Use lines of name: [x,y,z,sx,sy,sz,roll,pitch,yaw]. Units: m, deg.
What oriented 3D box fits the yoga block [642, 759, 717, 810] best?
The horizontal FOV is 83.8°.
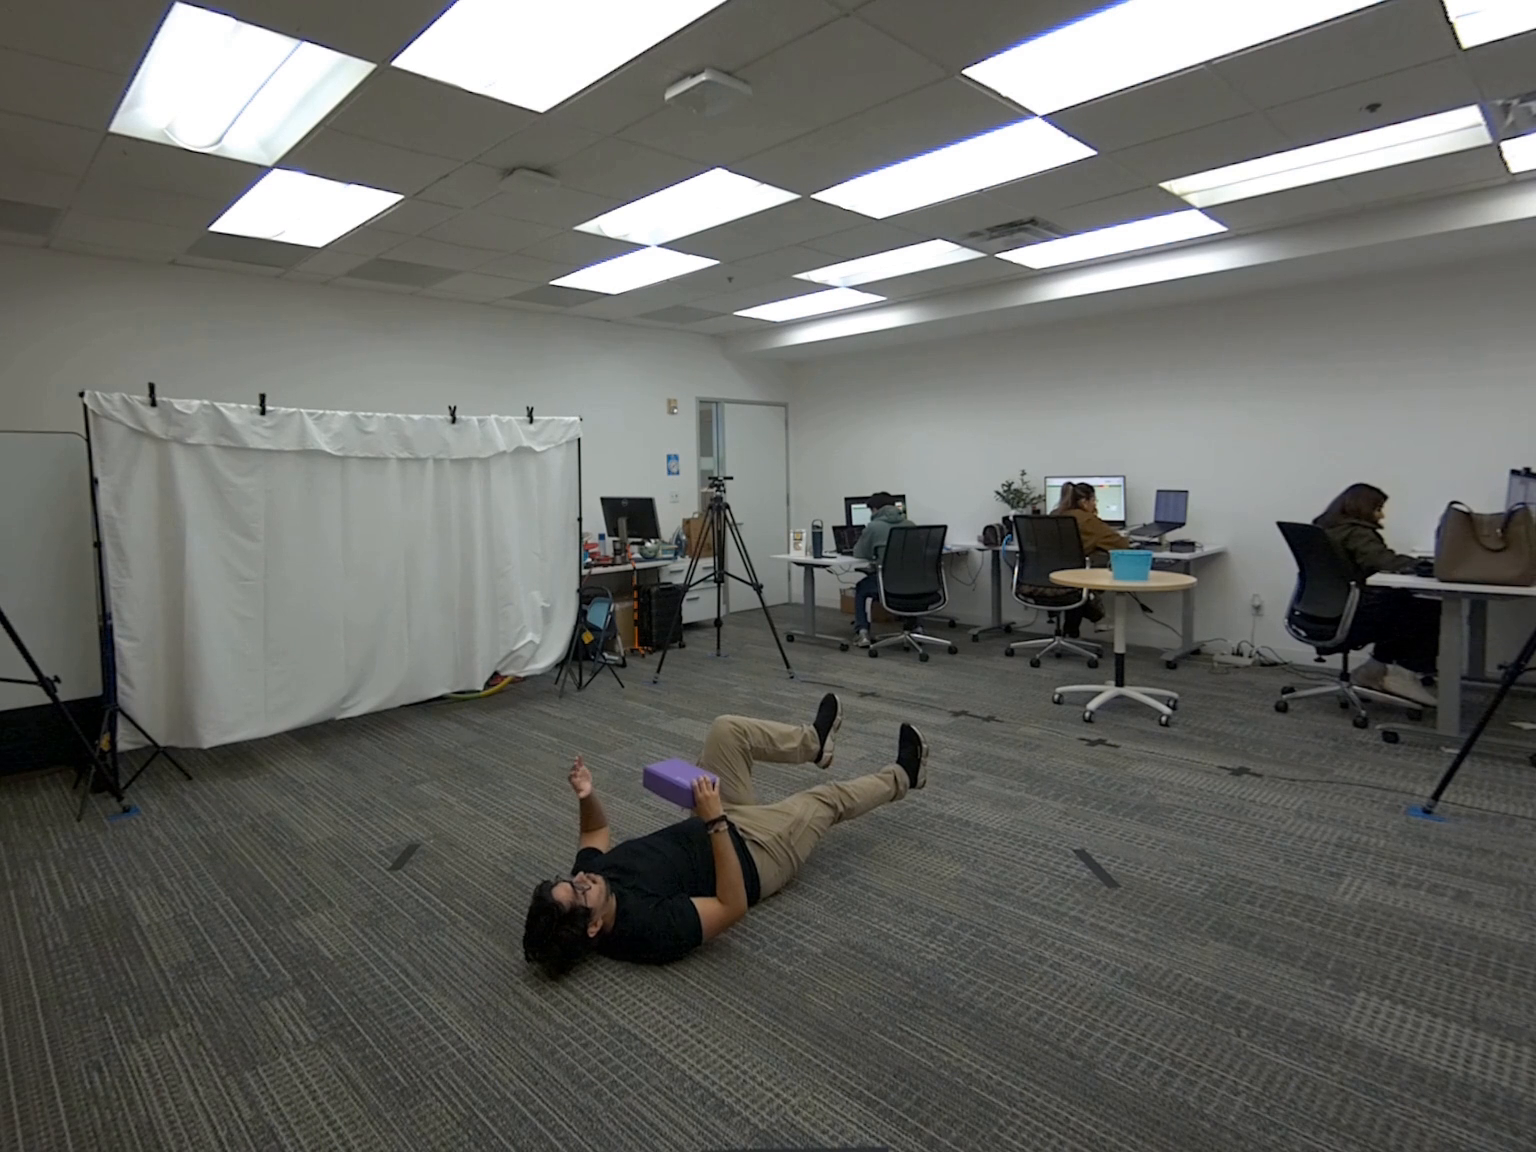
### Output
yoga block: [-0.281,0.661,2.760,0.237,0.076,0.145,10,11,42]
